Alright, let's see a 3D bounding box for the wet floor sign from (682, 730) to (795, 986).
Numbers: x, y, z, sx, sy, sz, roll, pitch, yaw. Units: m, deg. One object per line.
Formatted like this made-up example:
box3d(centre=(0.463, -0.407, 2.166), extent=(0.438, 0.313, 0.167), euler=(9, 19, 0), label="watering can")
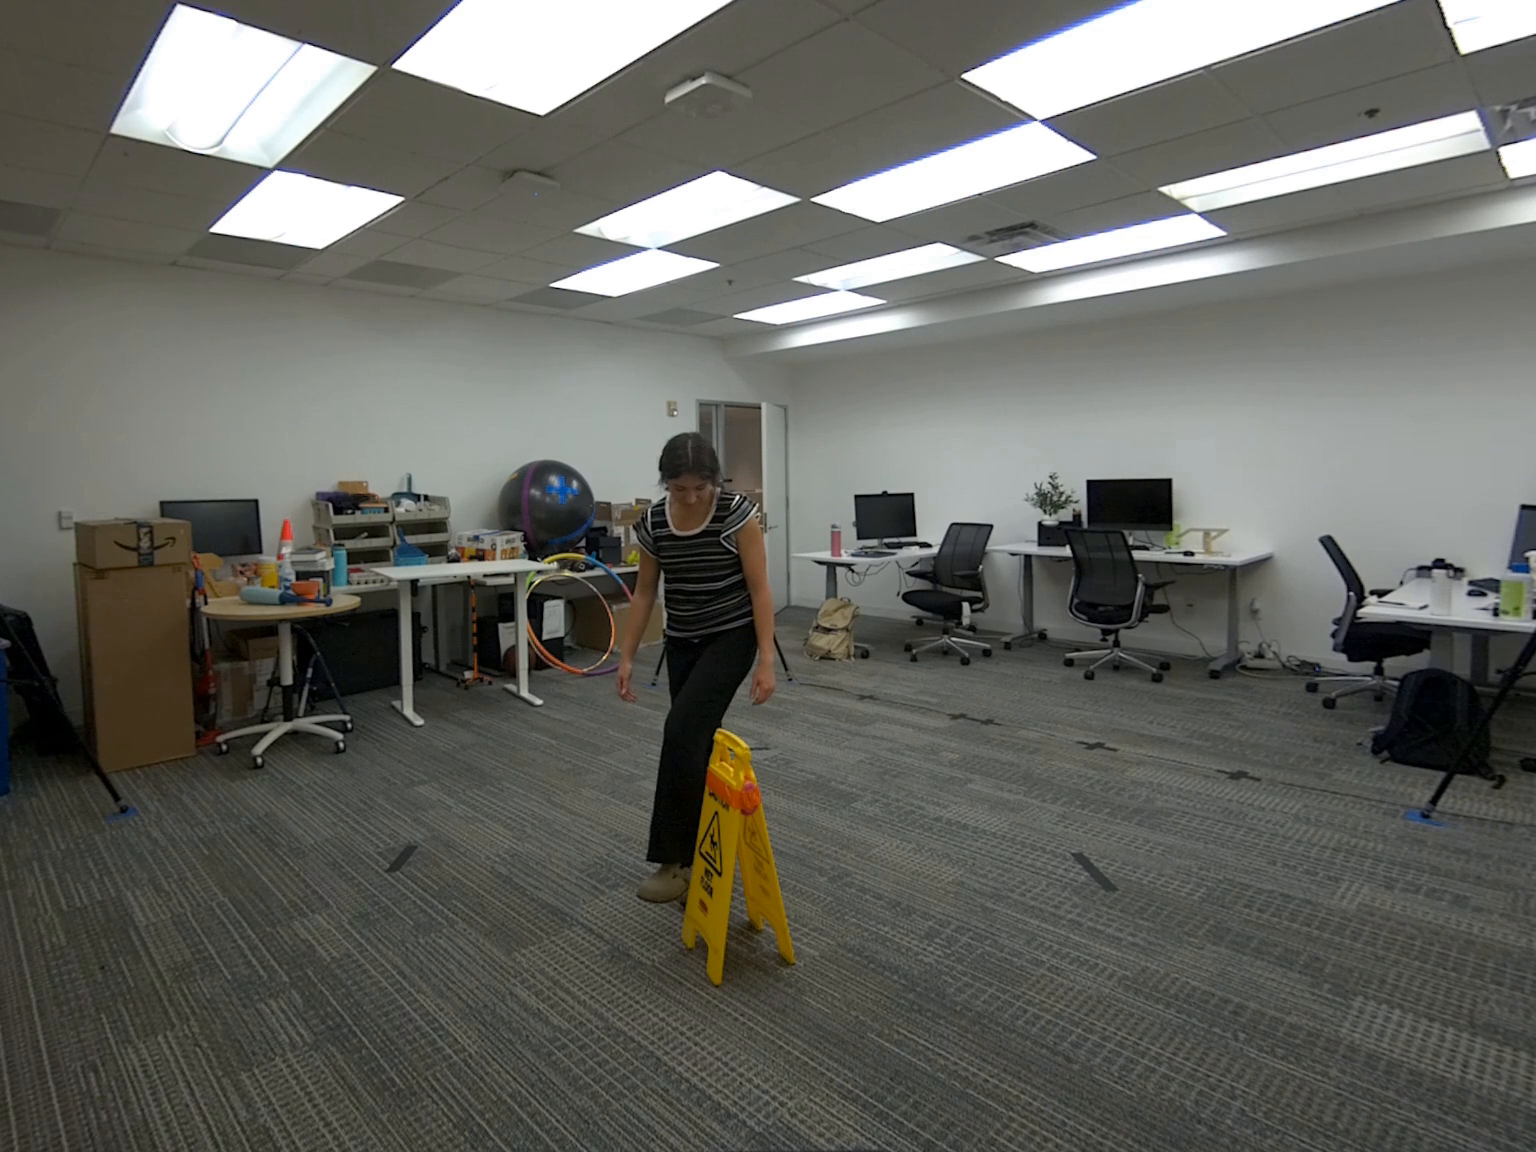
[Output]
box3d(centre=(-0.096, 0.790, 2.500), extent=(0.284, 0.644, 0.289), euler=(-4, 4, -24), label="wet floor sign")
